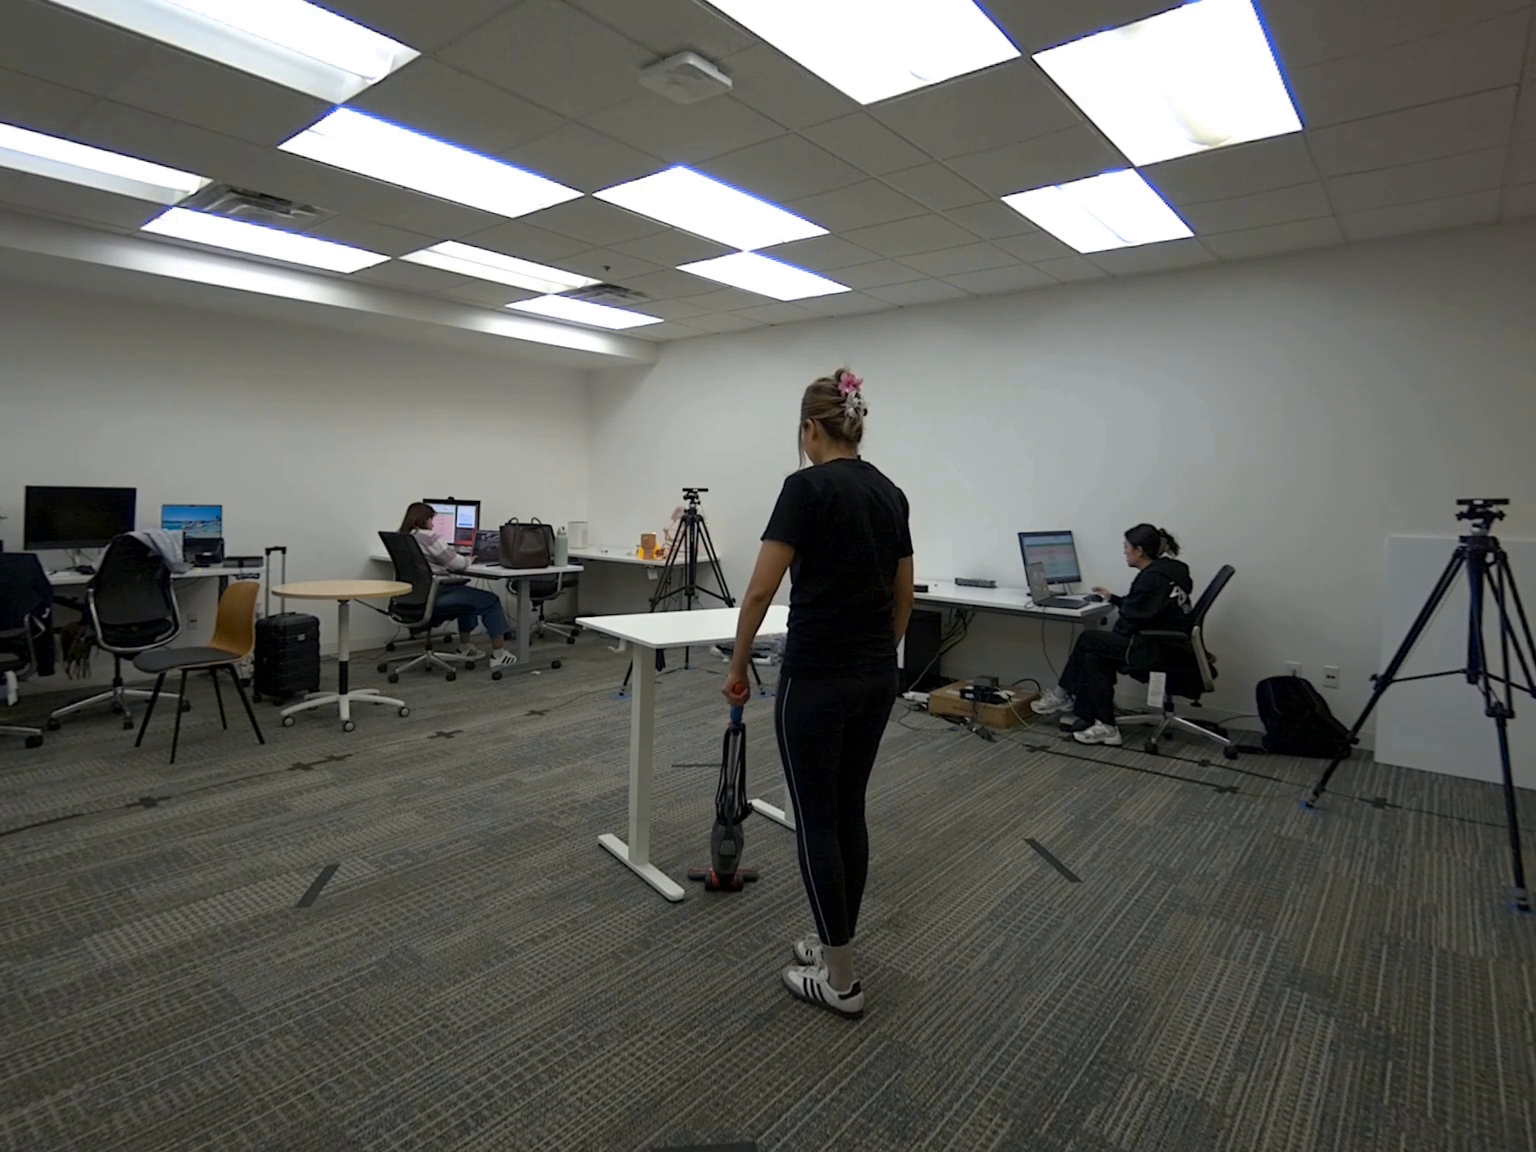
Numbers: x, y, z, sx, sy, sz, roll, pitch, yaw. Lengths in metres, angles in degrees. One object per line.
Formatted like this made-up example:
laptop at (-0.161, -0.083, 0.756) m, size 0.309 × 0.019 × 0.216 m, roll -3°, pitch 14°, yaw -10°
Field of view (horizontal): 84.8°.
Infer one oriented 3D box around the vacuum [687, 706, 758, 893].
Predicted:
vacuum at (-0.128, 0.698, 2.665) m, size 0.253 × 1.021 × 0.148 m, roll 5°, pitch 44°, yaw -1°
